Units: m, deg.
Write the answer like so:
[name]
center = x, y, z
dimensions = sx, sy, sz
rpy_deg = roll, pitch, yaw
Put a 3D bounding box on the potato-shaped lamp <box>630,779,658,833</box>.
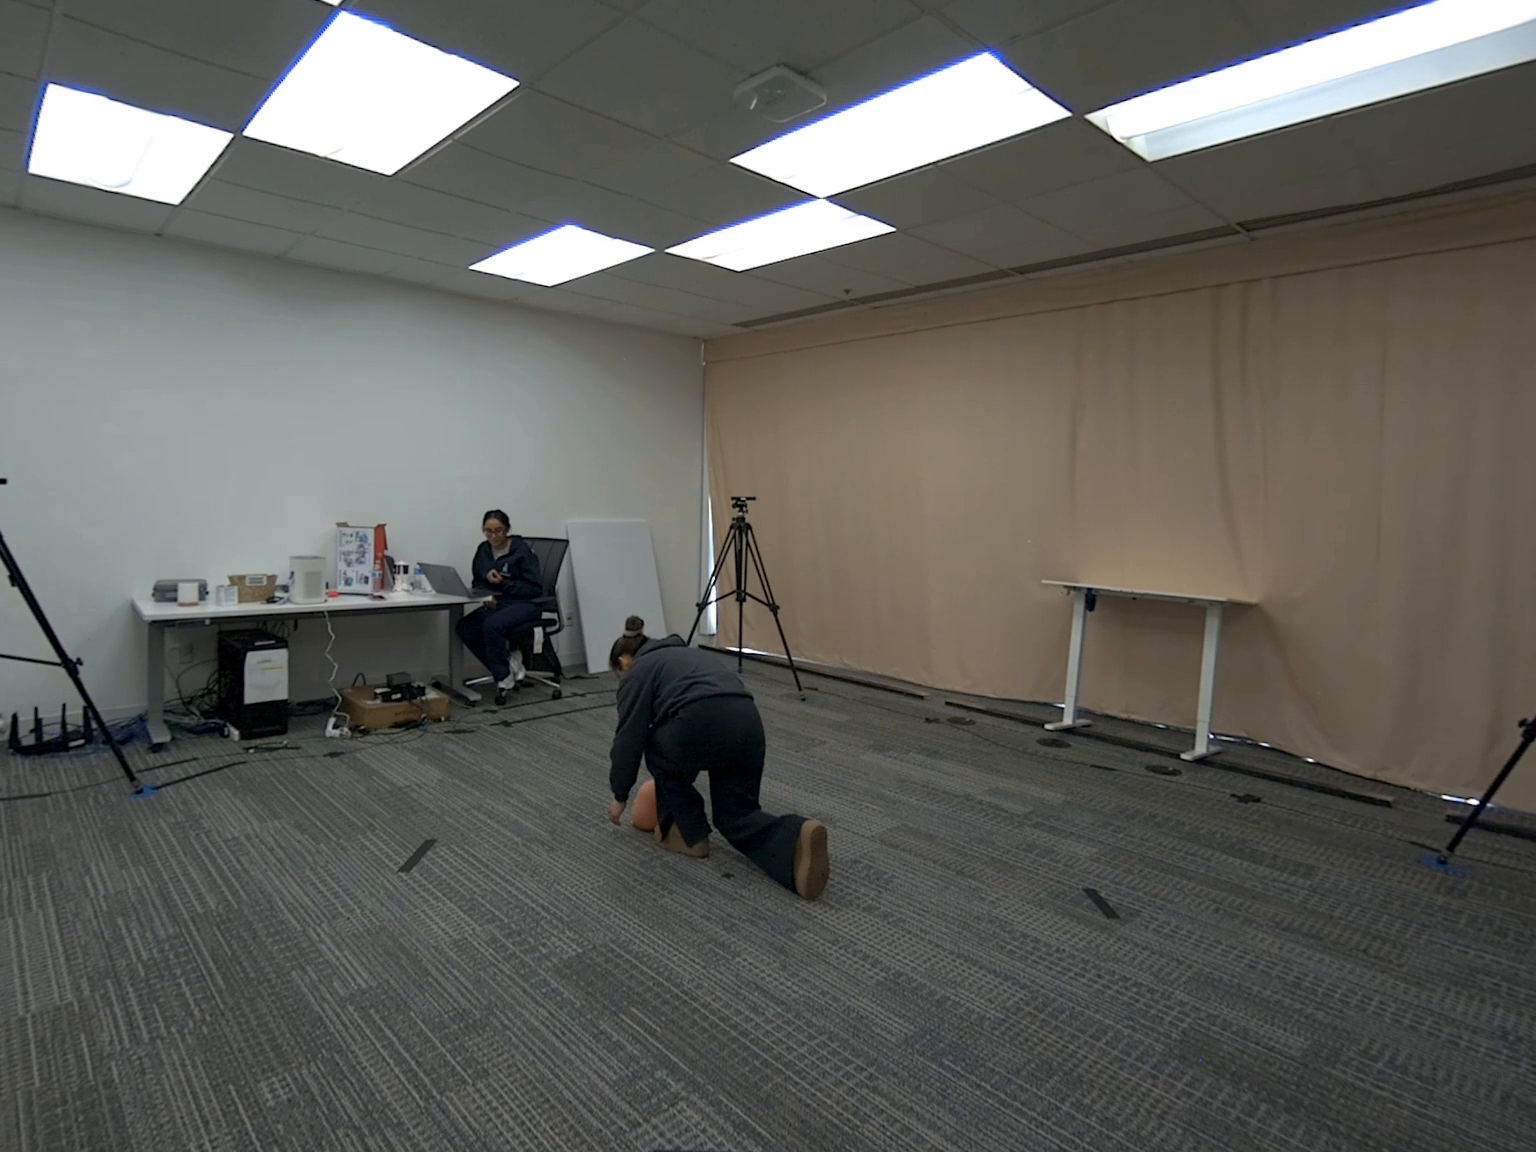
[potato-shaped lamp]
center = -0.496, 0.955, 3.559
dimensions = 0.176, 0.197, 0.161
rpy_deg = 10, 9, 35
